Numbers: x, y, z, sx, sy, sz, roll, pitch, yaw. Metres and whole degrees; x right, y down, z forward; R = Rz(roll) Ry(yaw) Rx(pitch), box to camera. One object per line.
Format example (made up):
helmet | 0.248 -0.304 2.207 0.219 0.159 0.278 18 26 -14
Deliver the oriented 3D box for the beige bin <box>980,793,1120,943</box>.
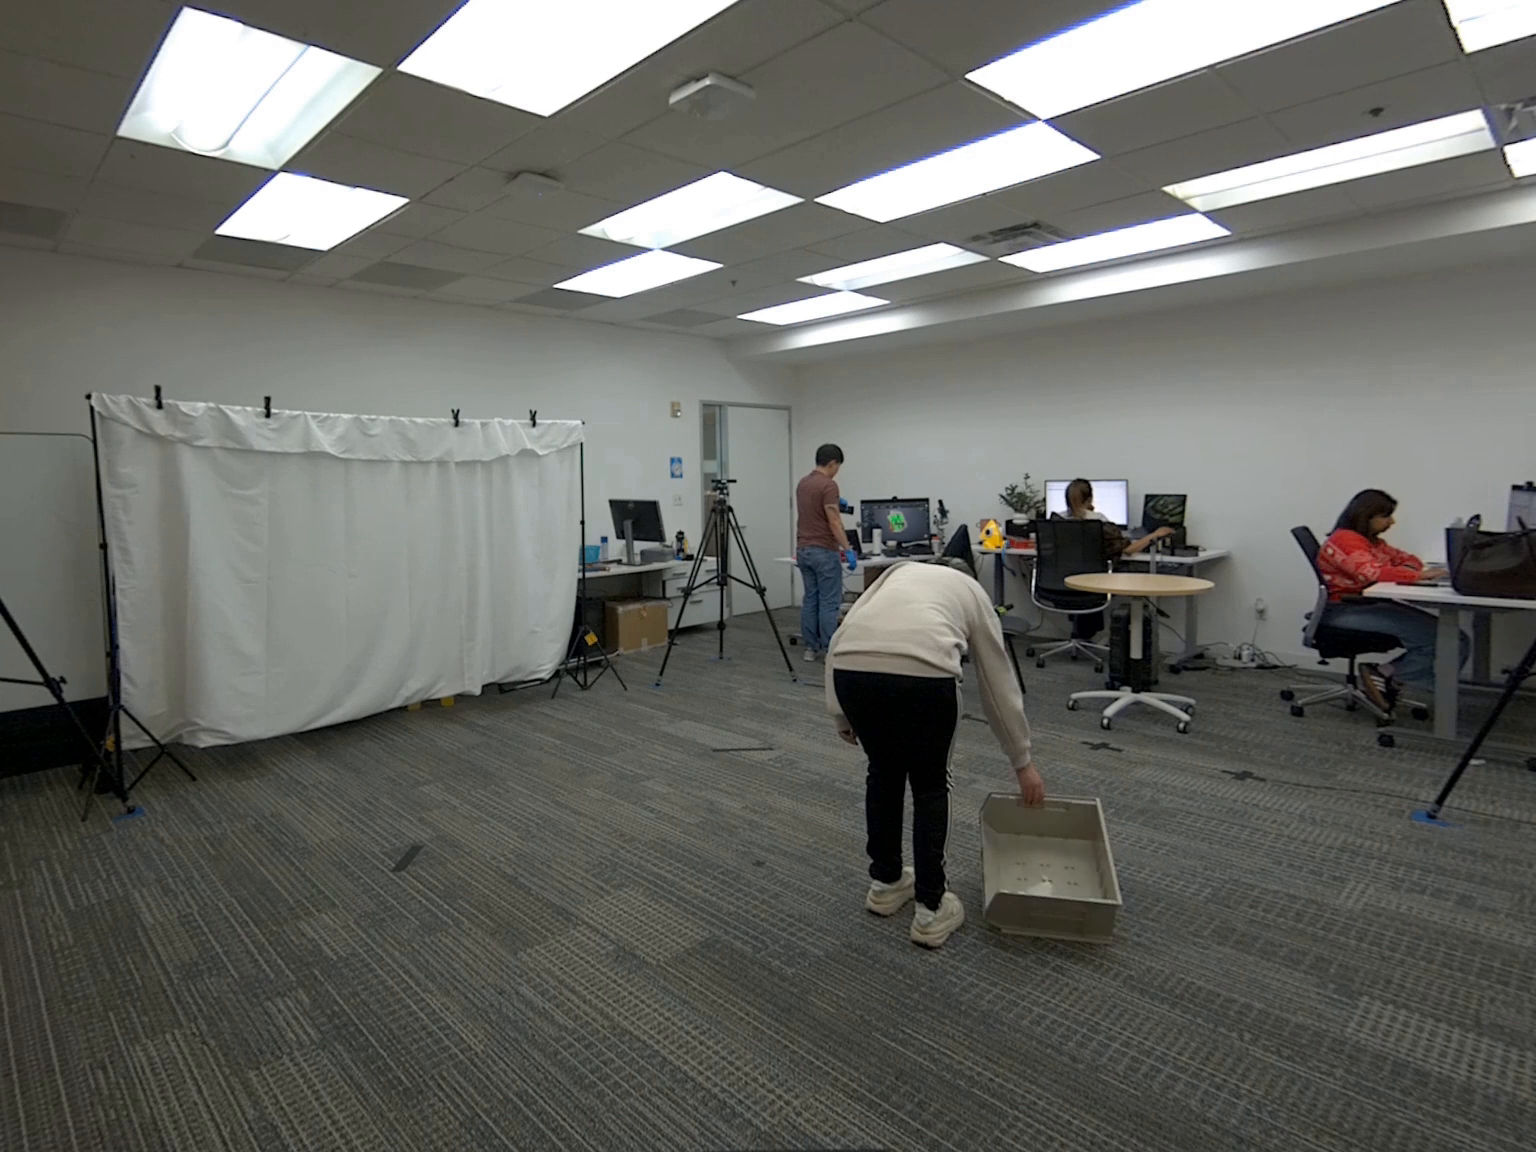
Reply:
beige bin | 0.870 0.909 2.707 0.382 0.184 0.427 1 29 12
